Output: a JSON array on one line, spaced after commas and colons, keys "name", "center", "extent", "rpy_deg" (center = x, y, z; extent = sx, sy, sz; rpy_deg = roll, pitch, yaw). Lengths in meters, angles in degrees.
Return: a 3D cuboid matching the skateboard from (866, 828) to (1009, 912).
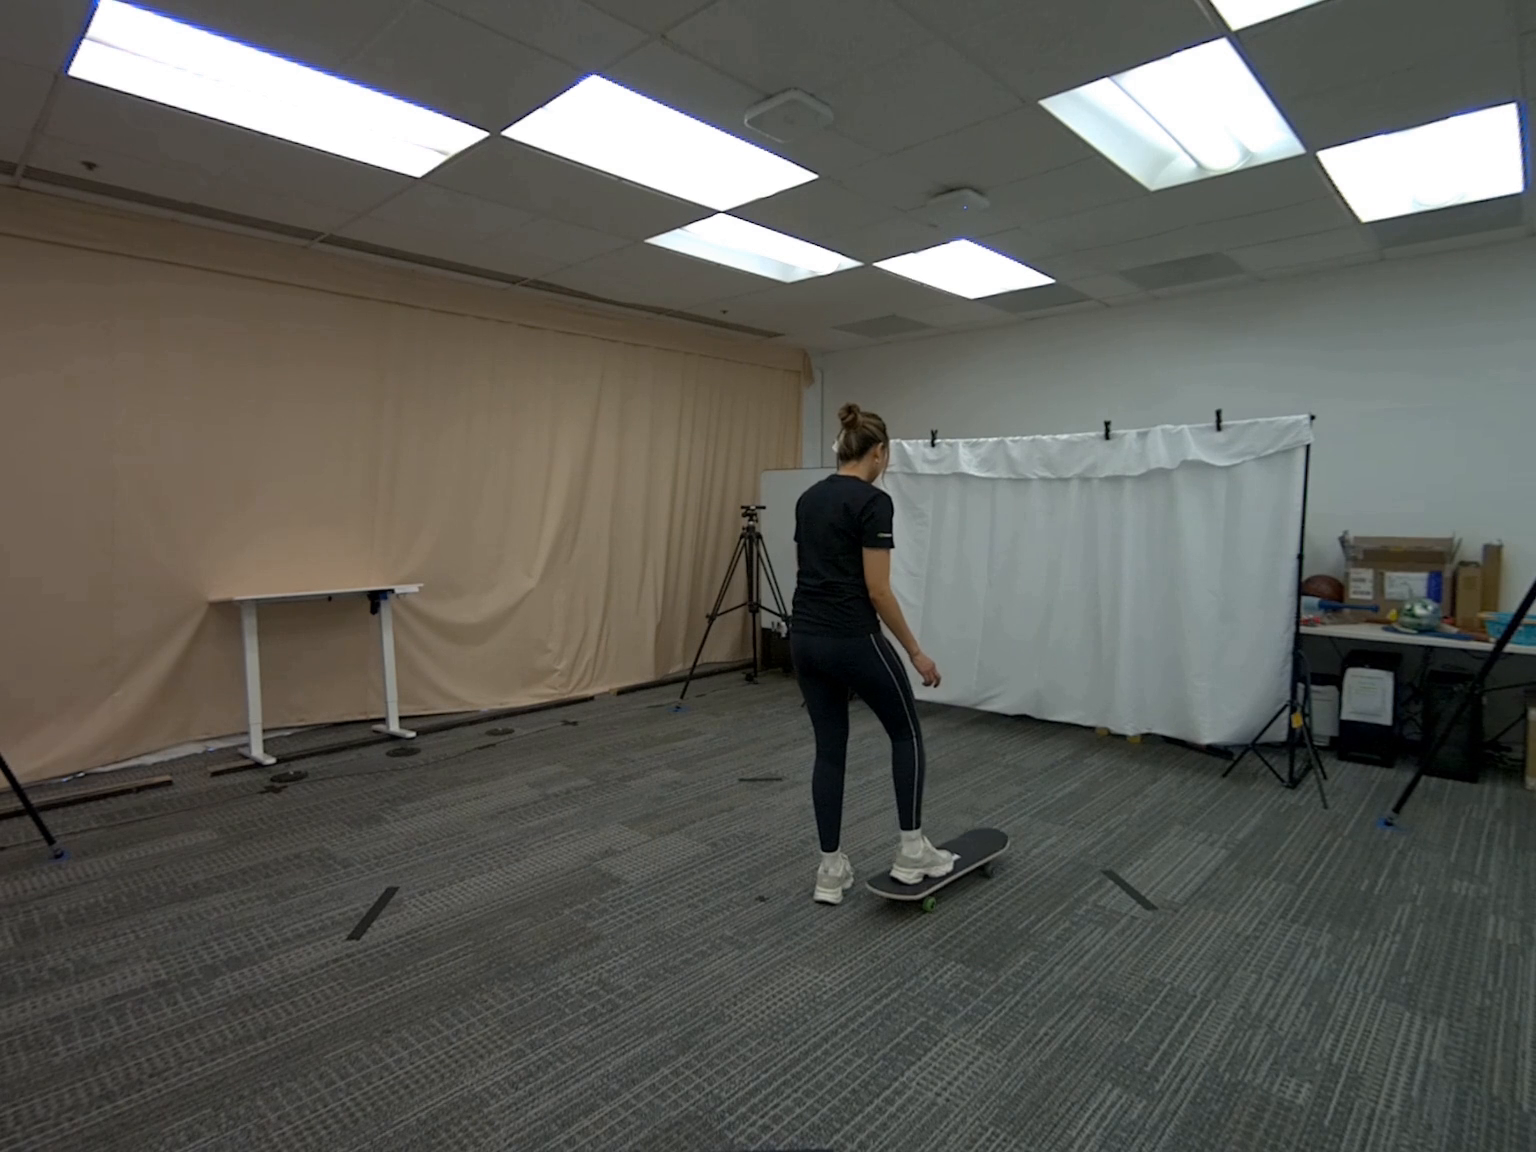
[{"name": "skateboard", "center": [0.628, 1.085, 3.071], "extent": [0.761, 0.110, 0.200], "rpy_deg": [-4, 6, -44]}]
